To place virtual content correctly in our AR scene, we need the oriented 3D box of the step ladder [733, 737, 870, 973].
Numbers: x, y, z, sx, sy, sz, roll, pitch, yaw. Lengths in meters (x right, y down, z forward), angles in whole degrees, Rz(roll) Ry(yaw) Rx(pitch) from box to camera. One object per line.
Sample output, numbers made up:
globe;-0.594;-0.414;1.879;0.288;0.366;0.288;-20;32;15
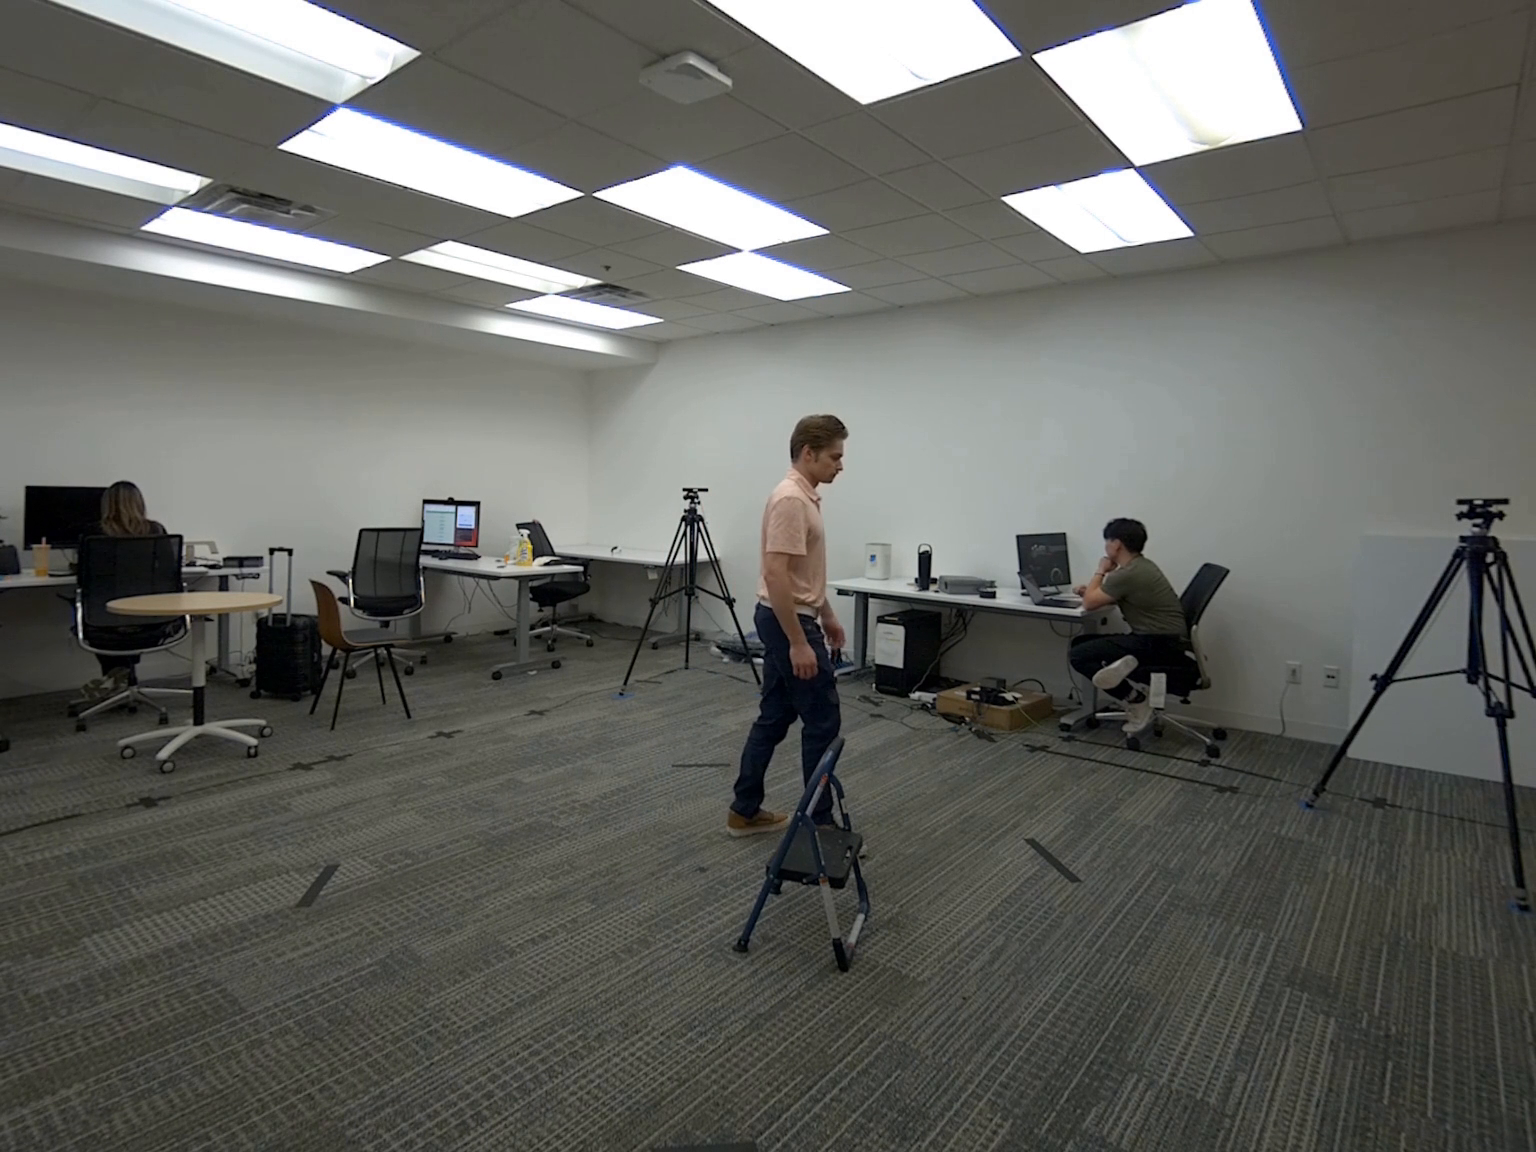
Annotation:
step ladder;0.119;0.816;2.688;0.356;0.604;0.424;2;4;16
